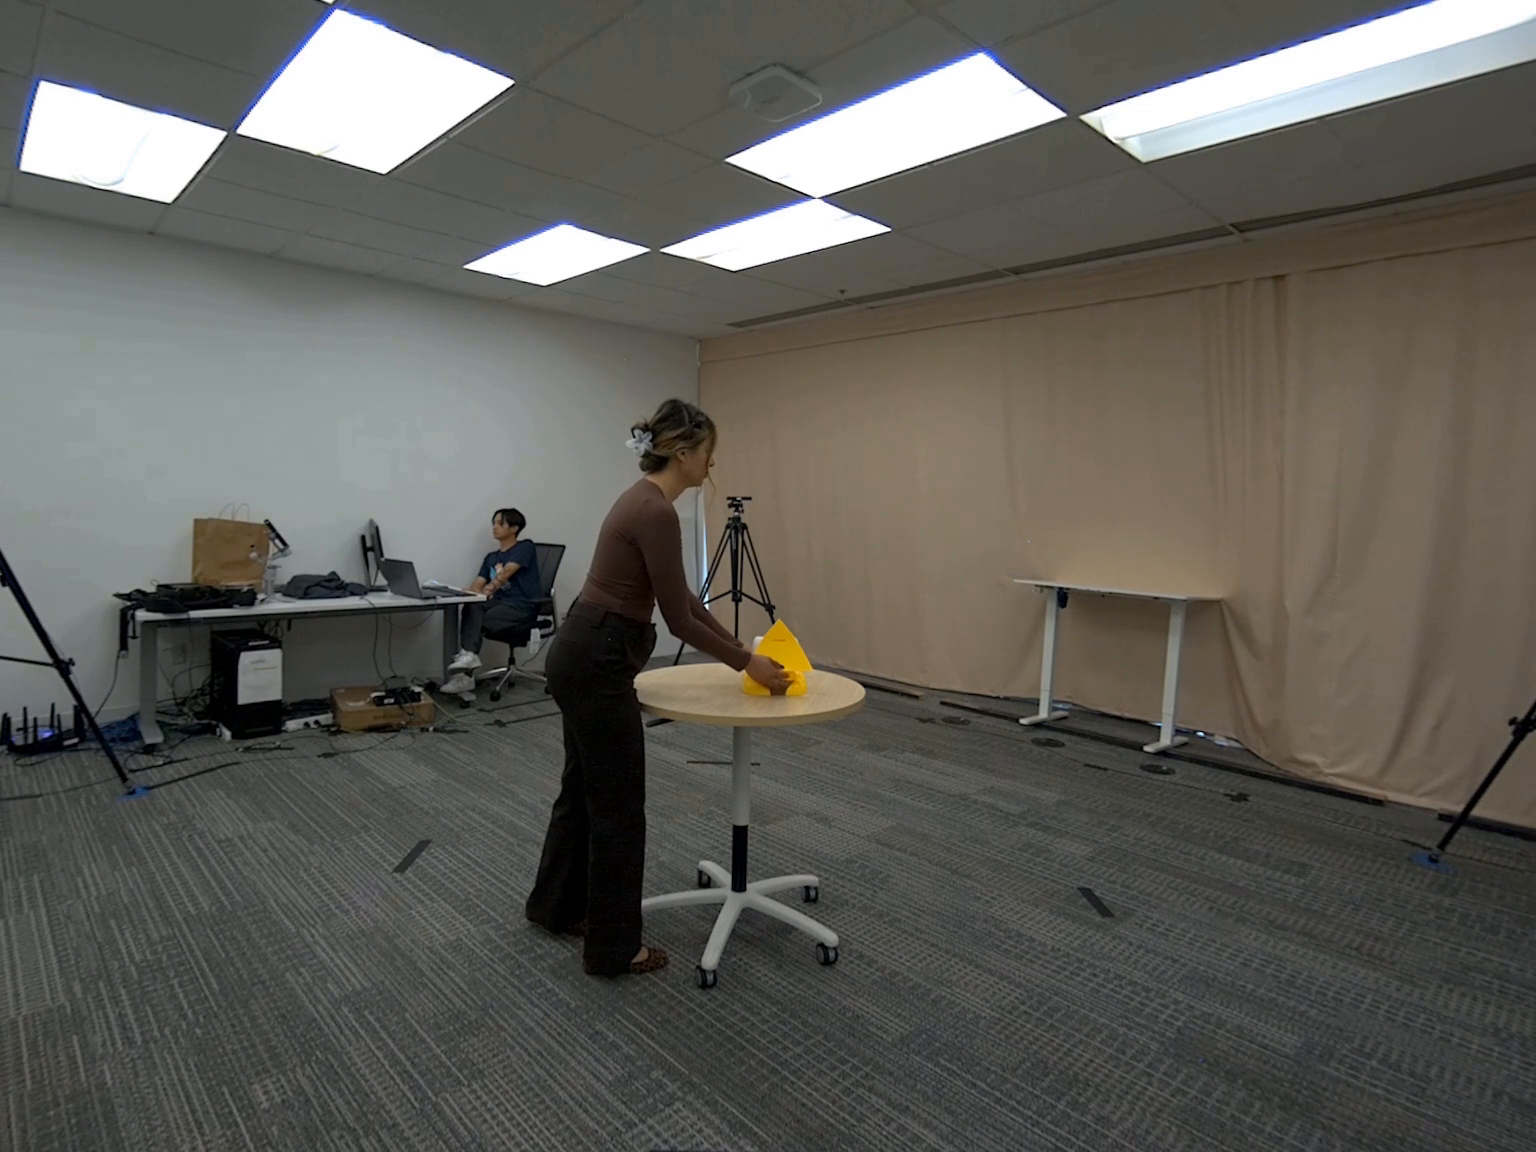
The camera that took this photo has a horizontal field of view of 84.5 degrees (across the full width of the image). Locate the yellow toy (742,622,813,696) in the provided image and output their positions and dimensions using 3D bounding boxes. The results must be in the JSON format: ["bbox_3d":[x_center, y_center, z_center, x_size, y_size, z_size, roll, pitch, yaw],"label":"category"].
[{"bbox_3d":[0.013,0.238,2.600,0.203,0.230,0.195,-1,4,-8],"label":"yellow toy"}]
